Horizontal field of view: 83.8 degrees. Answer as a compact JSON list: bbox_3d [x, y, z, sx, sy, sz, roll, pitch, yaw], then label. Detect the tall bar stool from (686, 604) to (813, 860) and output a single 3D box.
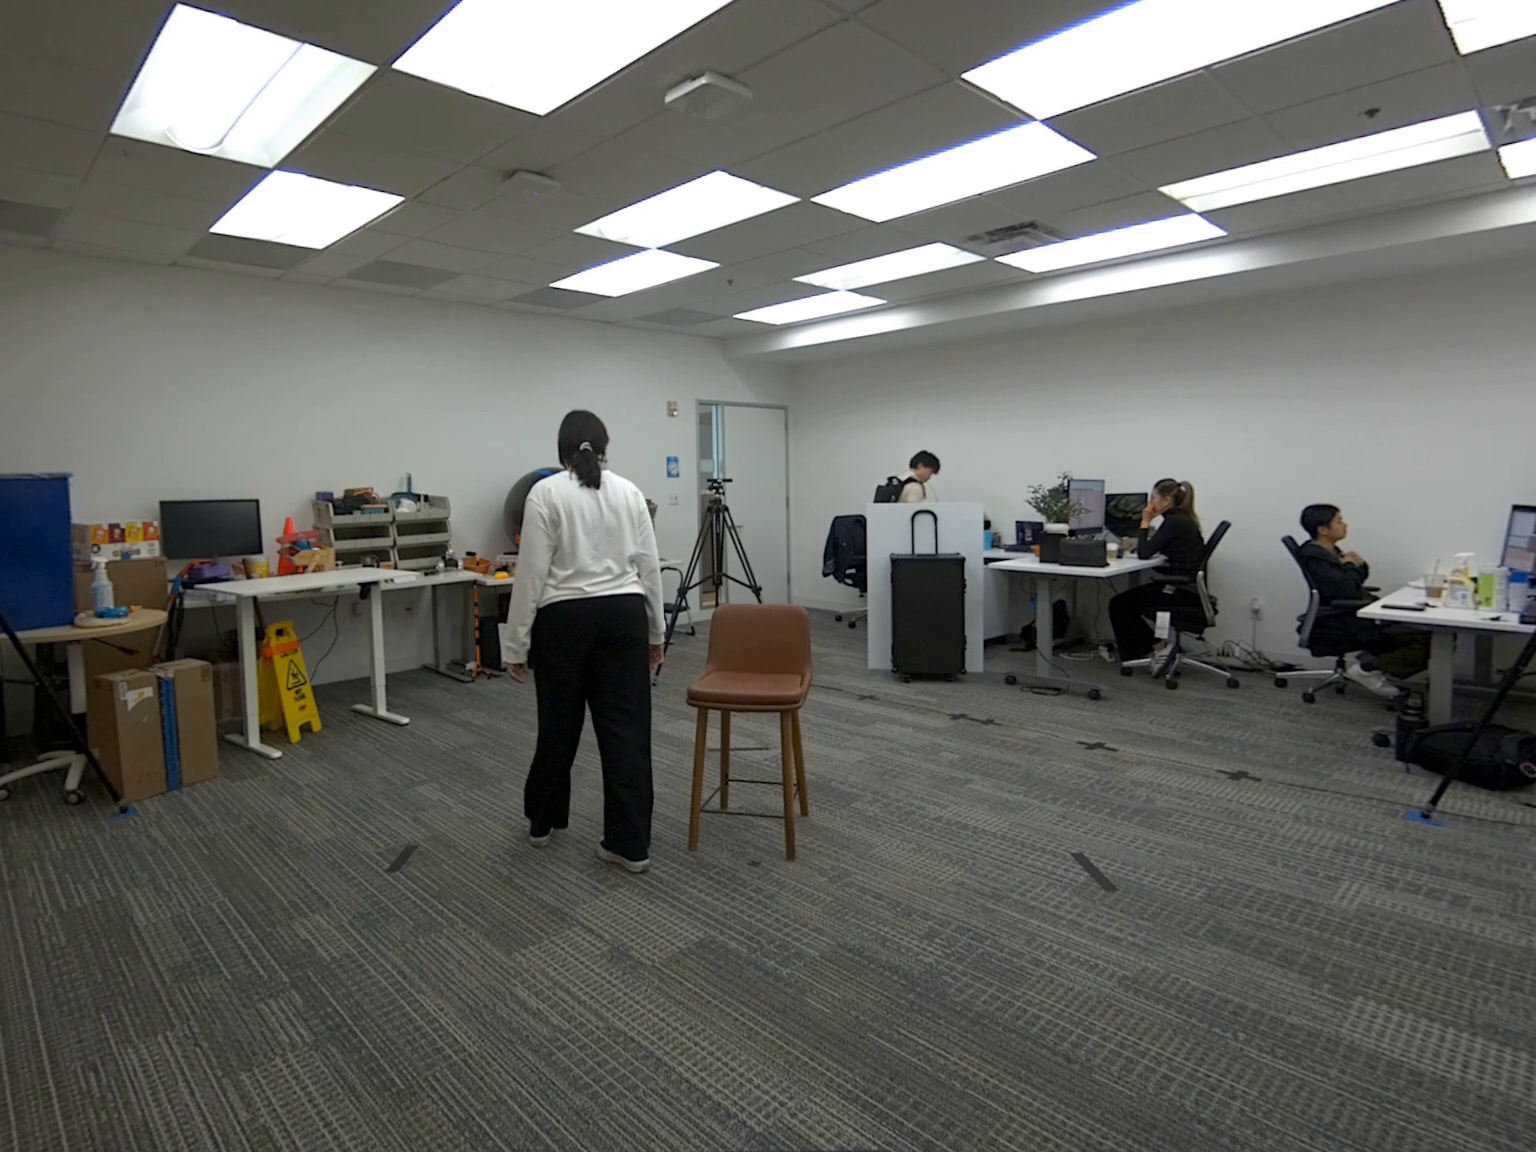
[{"bbox_3d":[-0.063,0.582,3.374,0.463,0.888,0.462,0,3,14],"label":"tall bar stool"}]
